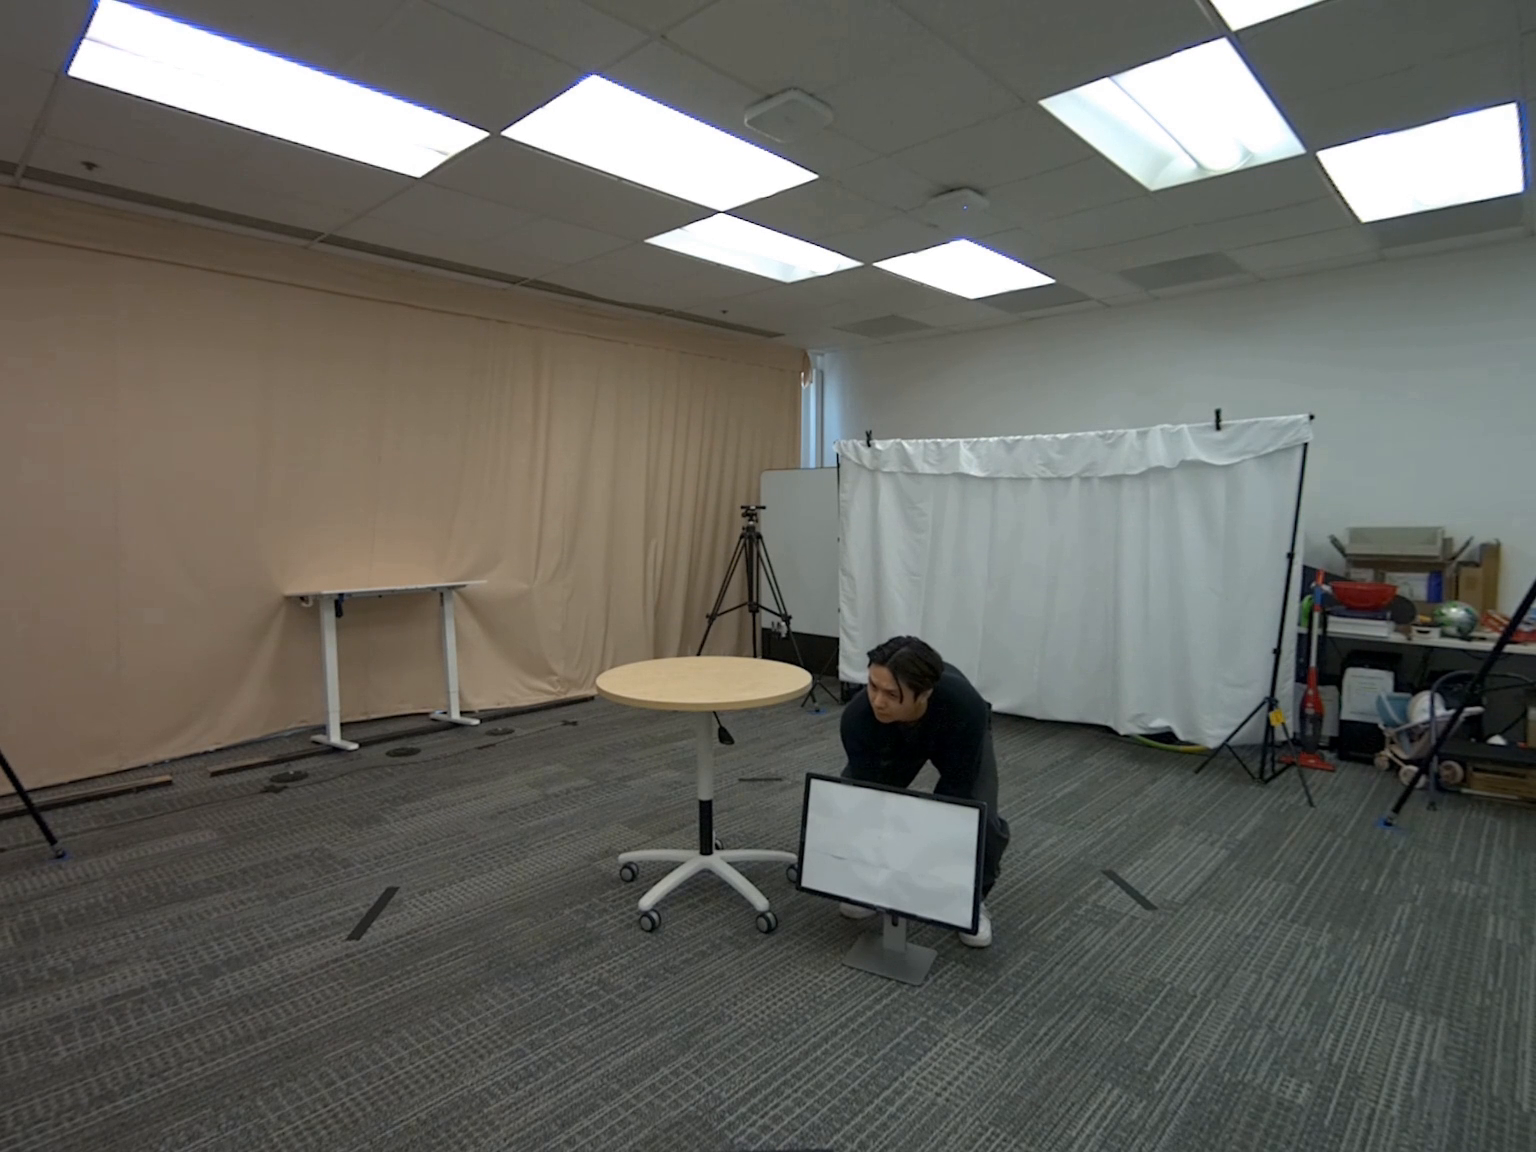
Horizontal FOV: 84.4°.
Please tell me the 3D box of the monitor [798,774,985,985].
[{"bbox_3d":[0.381,0.906,2.569,0.555,0.521,0.182,3,5,30],"label":"monitor"}]
